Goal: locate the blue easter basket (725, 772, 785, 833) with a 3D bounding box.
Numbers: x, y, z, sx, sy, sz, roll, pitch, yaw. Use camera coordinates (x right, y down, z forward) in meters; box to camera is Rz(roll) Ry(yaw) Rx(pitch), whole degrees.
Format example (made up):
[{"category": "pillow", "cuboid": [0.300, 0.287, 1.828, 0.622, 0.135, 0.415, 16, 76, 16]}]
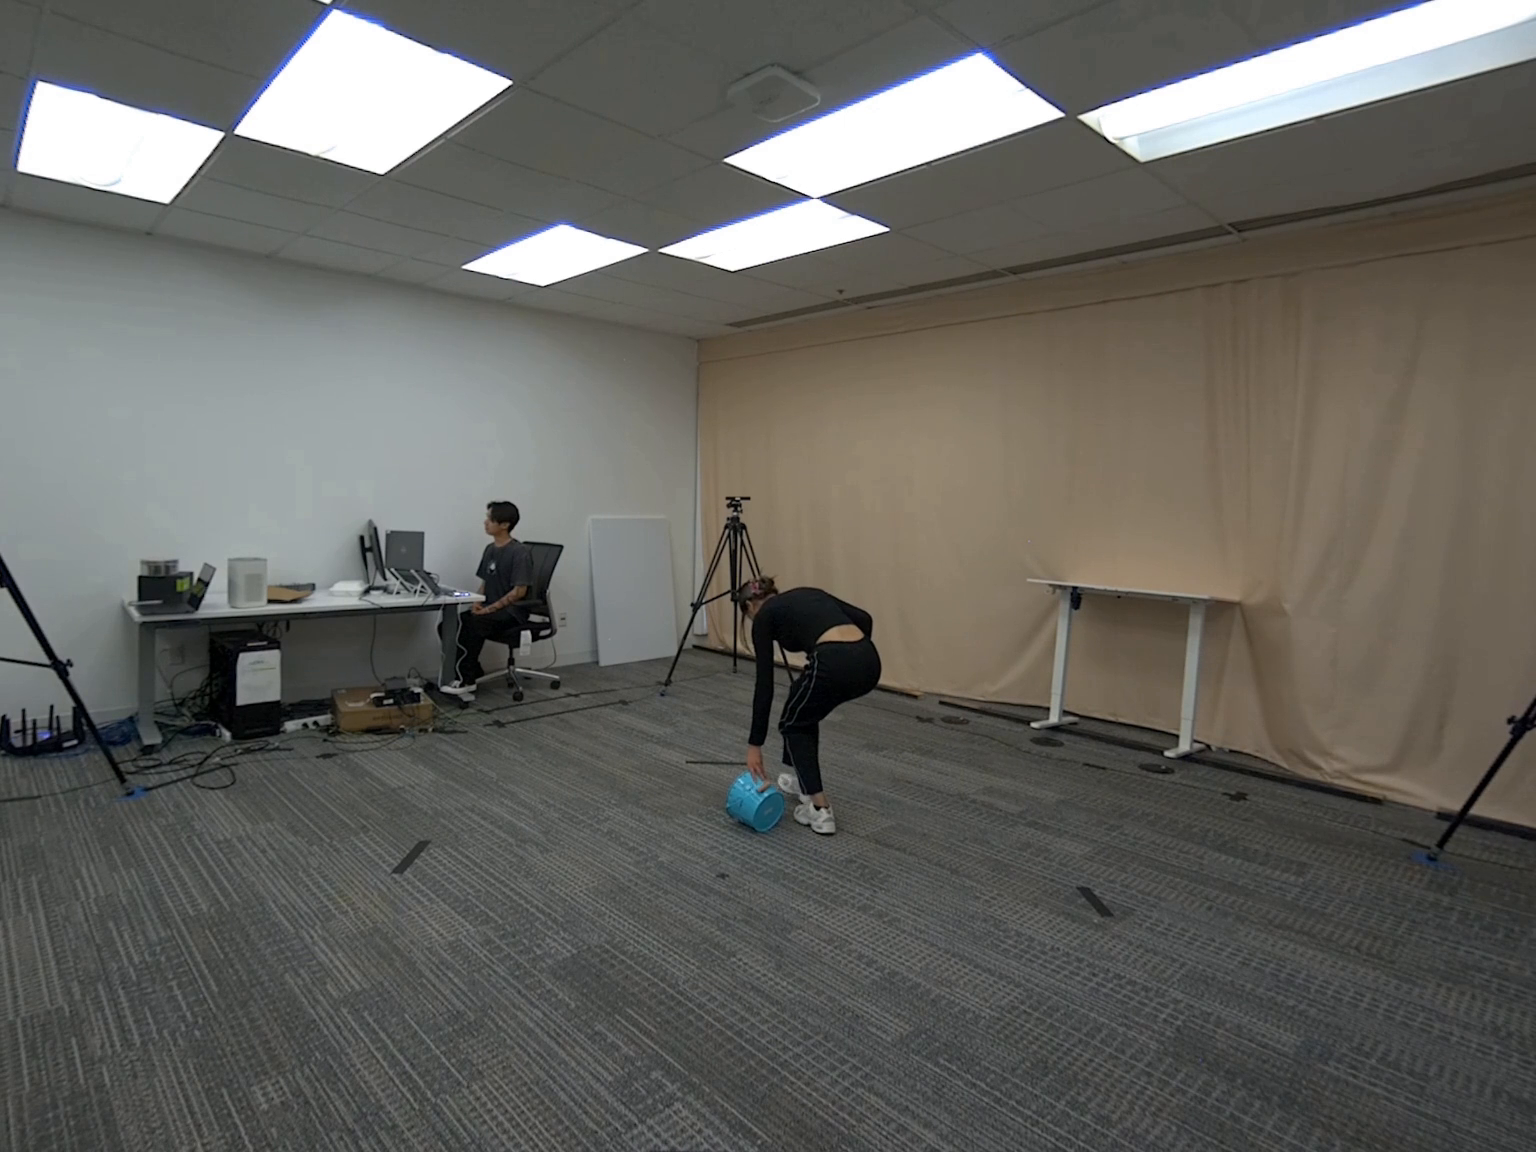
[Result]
[{"category": "blue easter basket", "cuboid": [-0.058, 0.959, 3.568, 0.238, 0.242, 0.160, -3, 18, -44]}]
